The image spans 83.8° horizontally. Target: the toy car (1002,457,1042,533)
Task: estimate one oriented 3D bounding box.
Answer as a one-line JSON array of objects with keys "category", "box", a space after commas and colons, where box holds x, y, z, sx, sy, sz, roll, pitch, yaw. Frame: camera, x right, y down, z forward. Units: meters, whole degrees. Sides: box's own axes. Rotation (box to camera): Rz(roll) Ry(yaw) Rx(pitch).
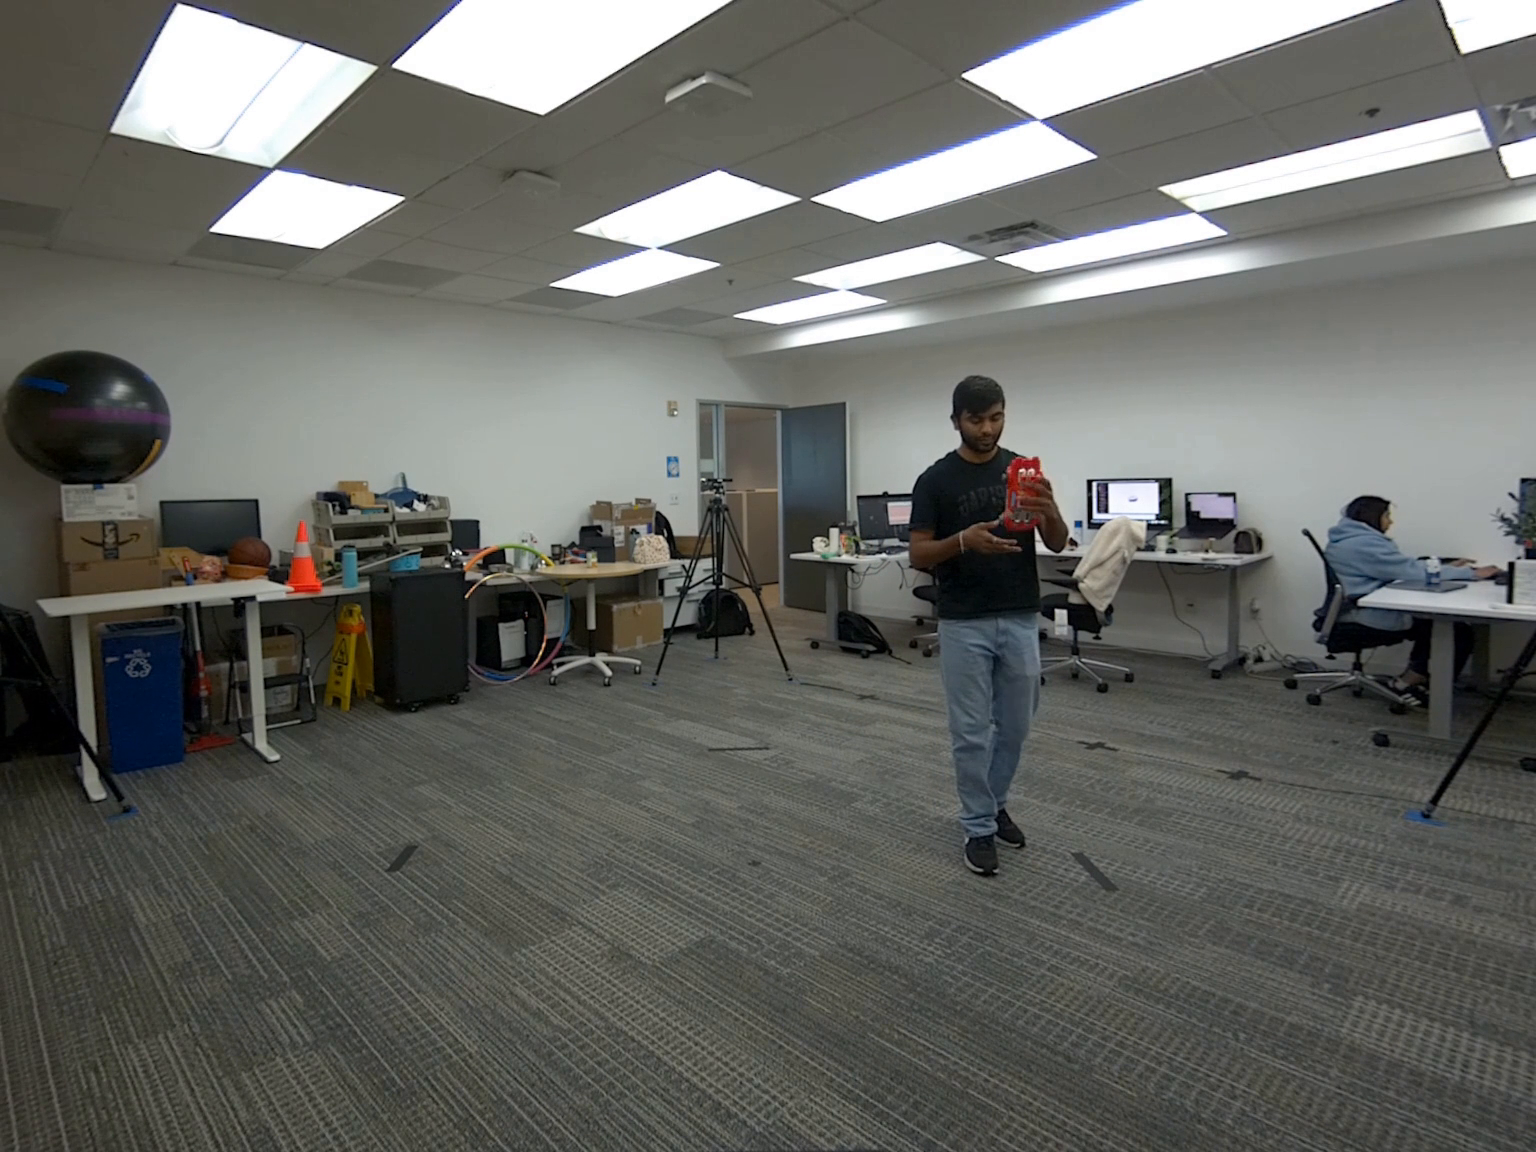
[{"category": "toy car", "box": [0.833, -0.268, 2.787, 0.130, 0.248, 0.085, 0, 32, 0]}]
